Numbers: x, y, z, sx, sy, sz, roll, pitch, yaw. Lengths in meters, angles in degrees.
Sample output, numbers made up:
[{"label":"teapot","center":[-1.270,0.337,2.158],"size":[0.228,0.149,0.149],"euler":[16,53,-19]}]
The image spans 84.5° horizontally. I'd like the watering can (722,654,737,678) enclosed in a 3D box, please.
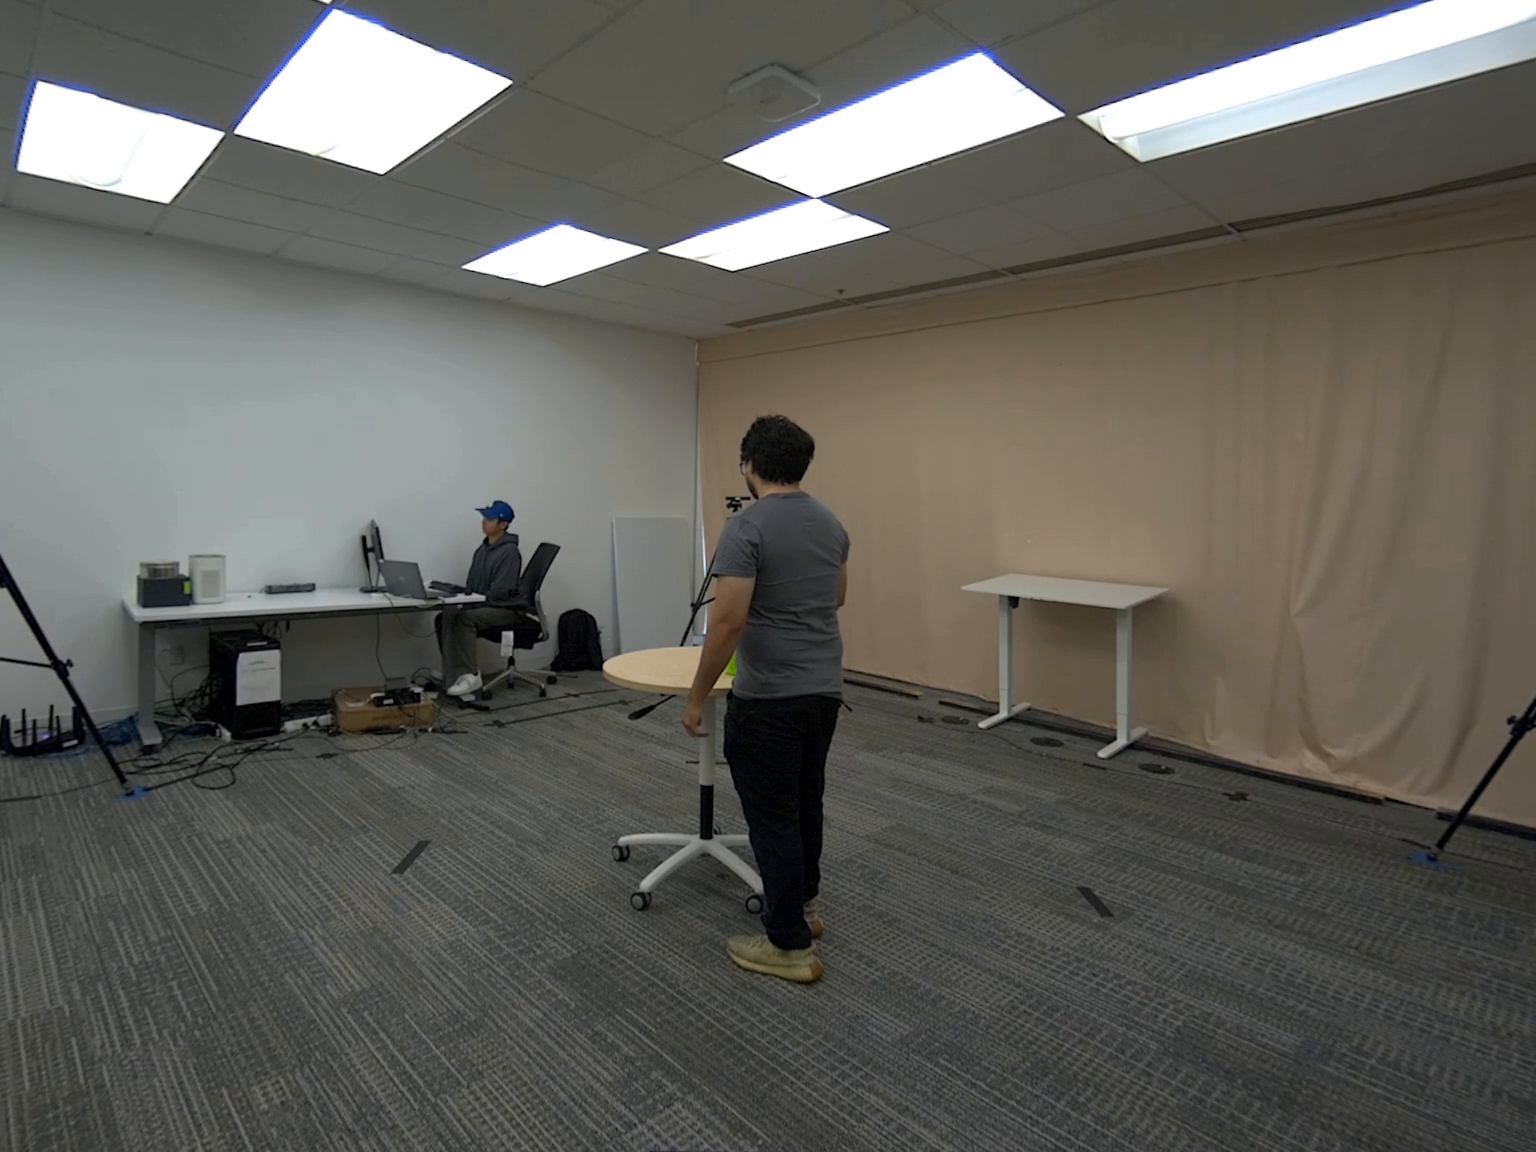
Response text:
[{"label":"watering can","center":[-0.042,0.259,2.921],"size":[0.277,0.176,0.099],"euler":[-1,5,-5]}]
